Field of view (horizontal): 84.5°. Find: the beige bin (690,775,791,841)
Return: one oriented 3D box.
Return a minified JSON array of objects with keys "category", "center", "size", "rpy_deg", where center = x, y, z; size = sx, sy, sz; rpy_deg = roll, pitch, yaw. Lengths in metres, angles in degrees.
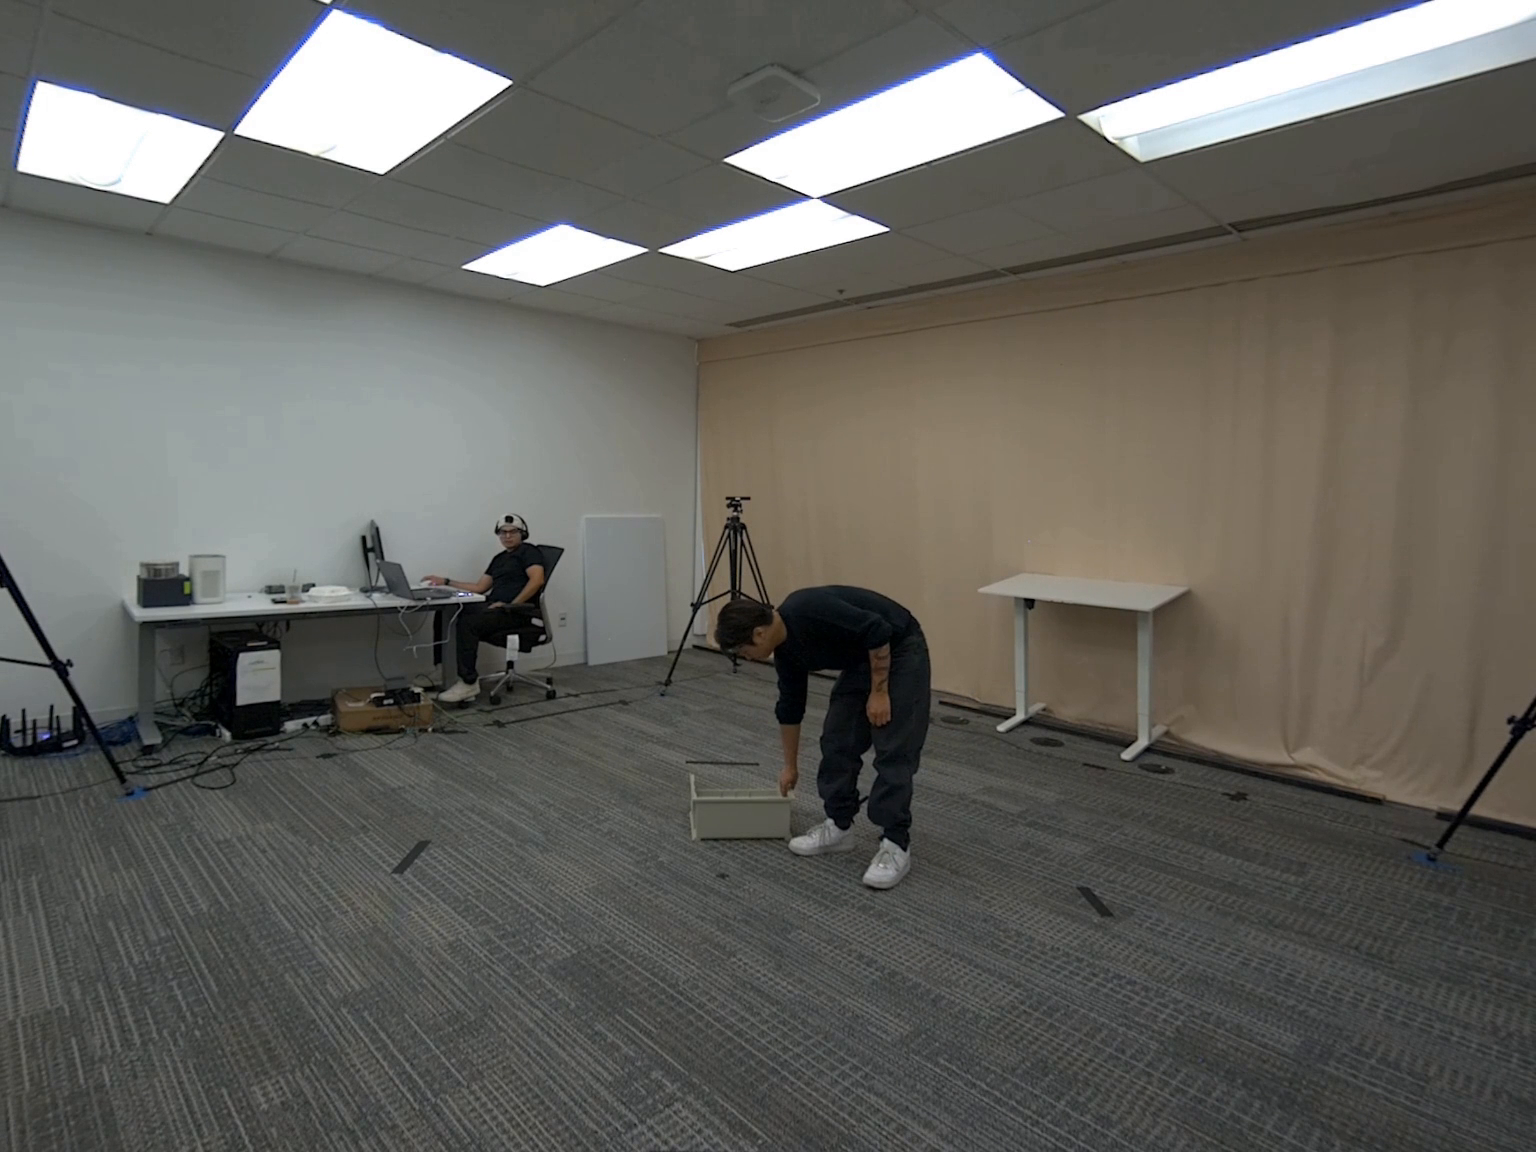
[{"category":"beige bin","center":[-0.130,0.988,3.620],"size":[0.420,0.188,0.380],"rpy_deg":[1,6,-6]}]
